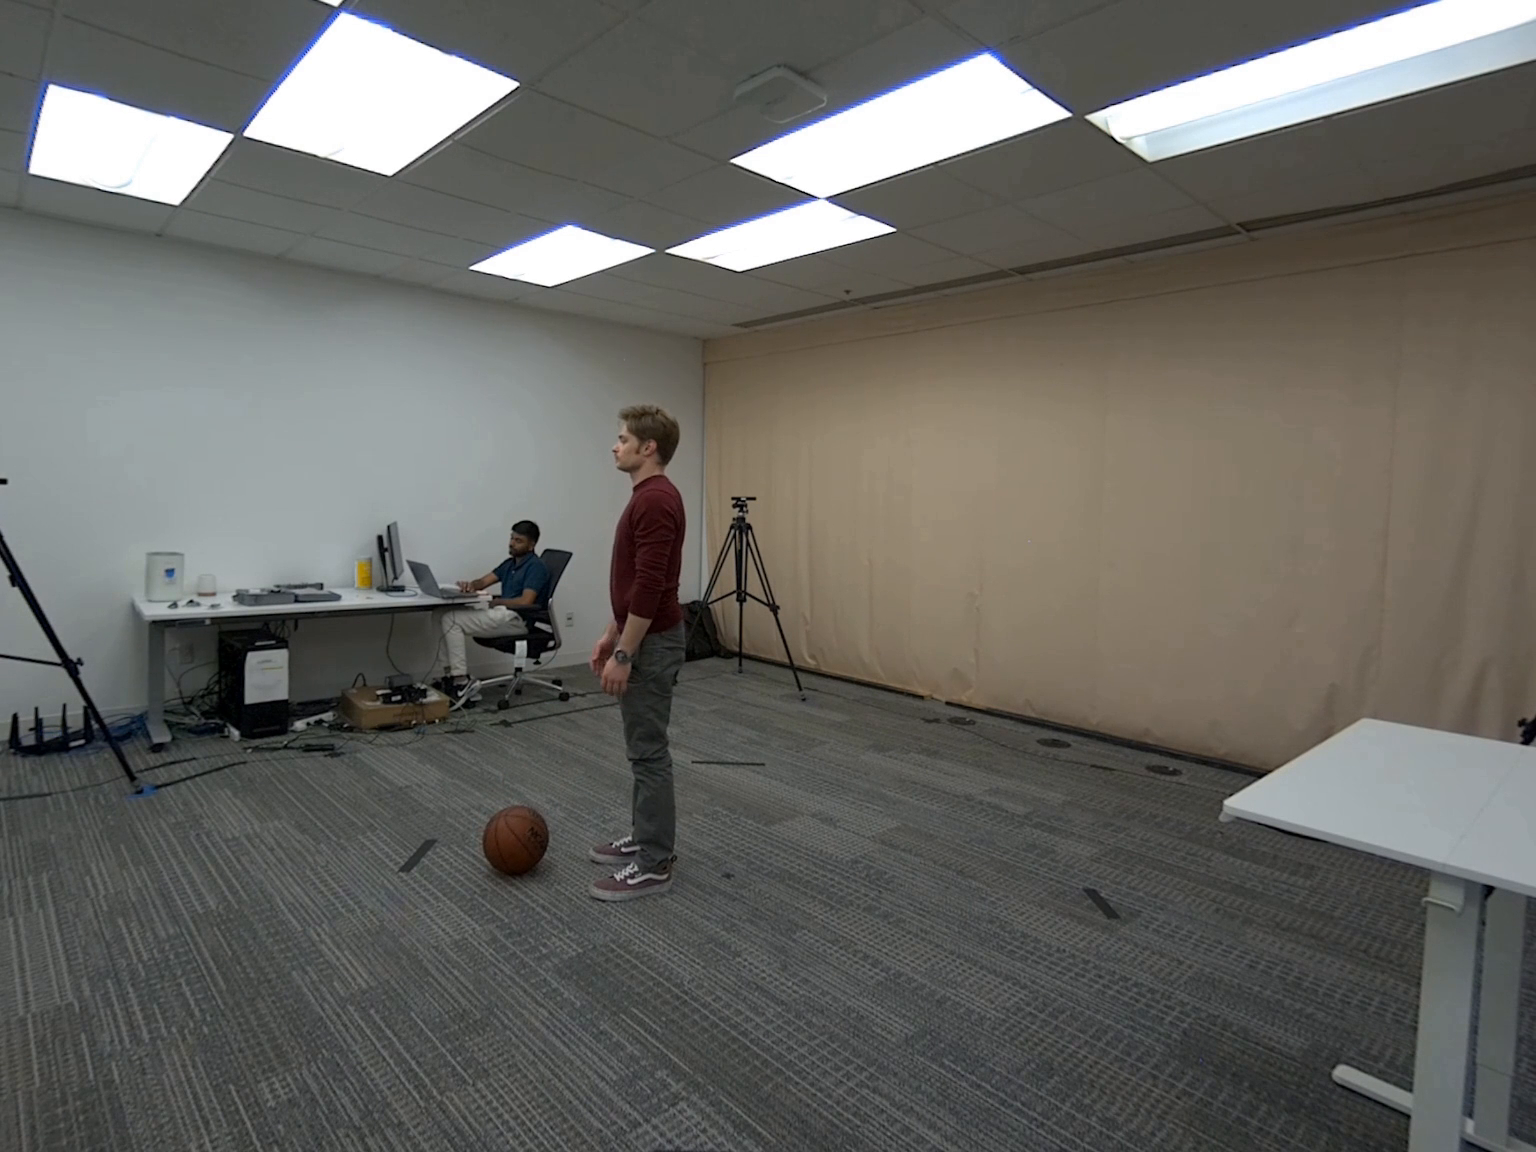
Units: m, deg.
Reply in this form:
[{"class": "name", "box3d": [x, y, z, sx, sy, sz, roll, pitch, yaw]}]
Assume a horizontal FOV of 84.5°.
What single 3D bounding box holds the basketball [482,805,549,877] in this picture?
[{"class": "basketball", "box3d": [-0.928, 0.963, 3.104, 0.236, 0.235, 0.237, 1, 4, -1]}]
